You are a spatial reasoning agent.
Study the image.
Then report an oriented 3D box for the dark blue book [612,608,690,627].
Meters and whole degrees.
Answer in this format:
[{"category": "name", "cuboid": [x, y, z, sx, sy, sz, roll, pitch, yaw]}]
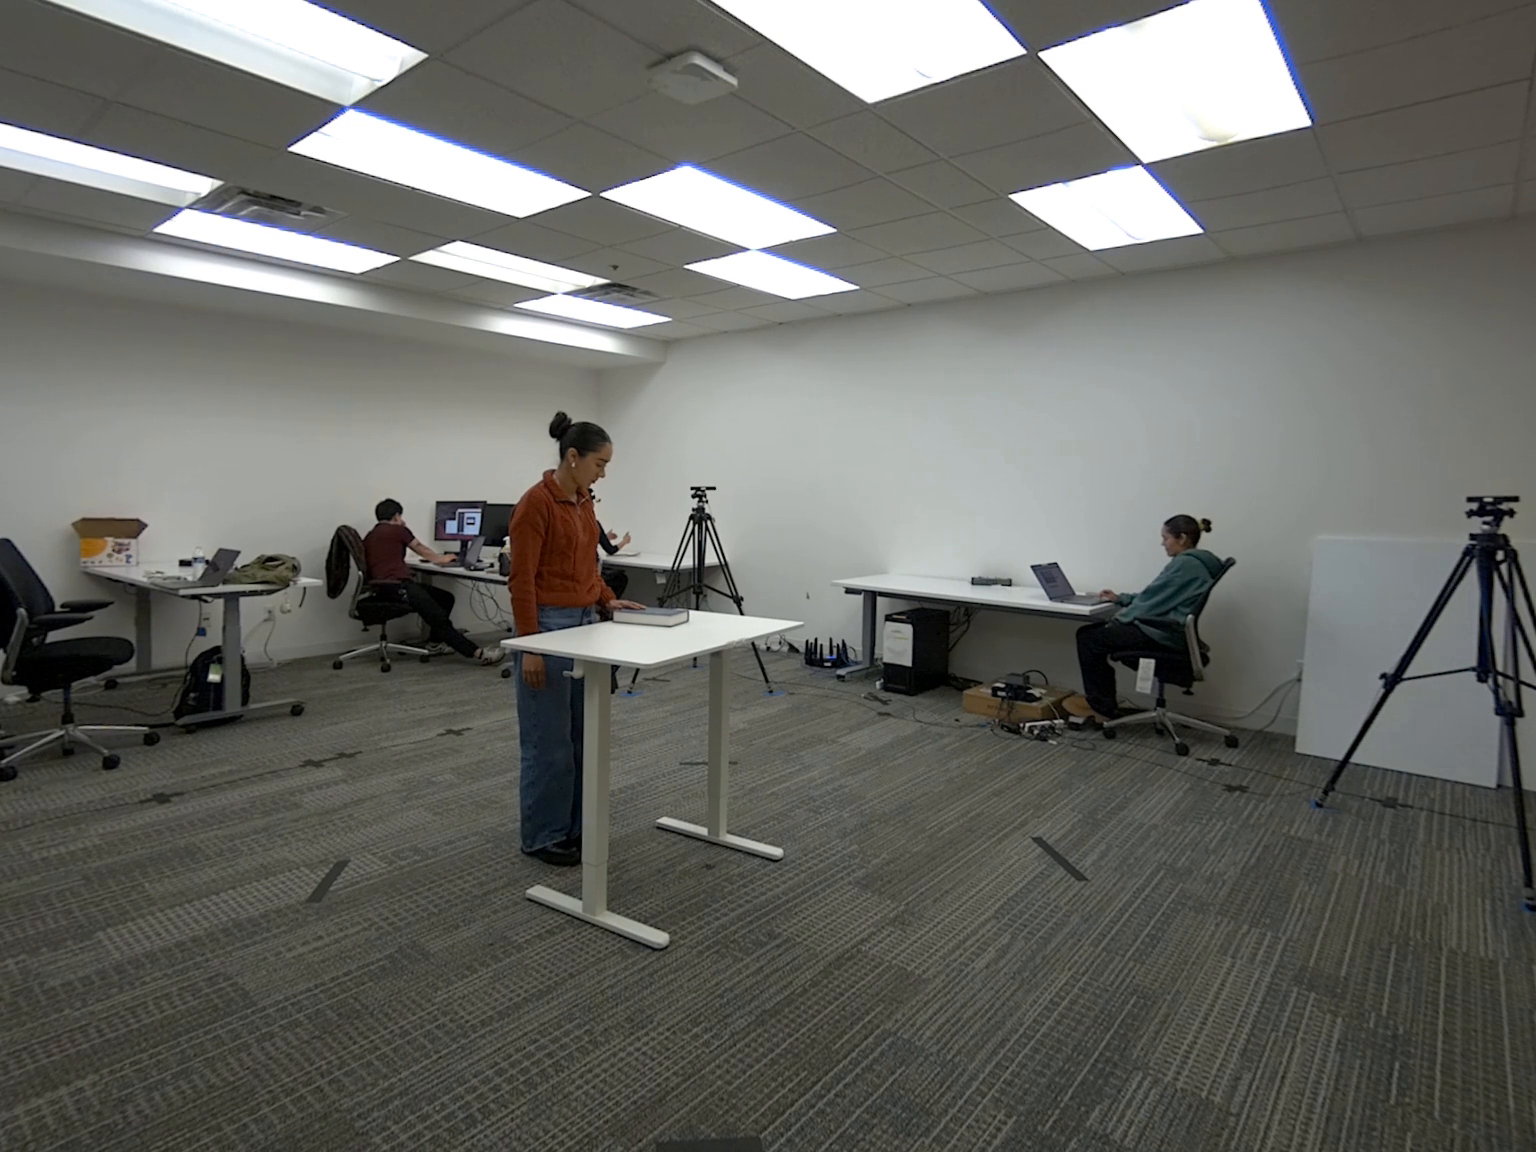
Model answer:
[{"category": "dark blue book", "cuboid": [-0.450, 0.157, 3.197, 0.250, 0.045, 0.161, 1, 6, 18]}]
